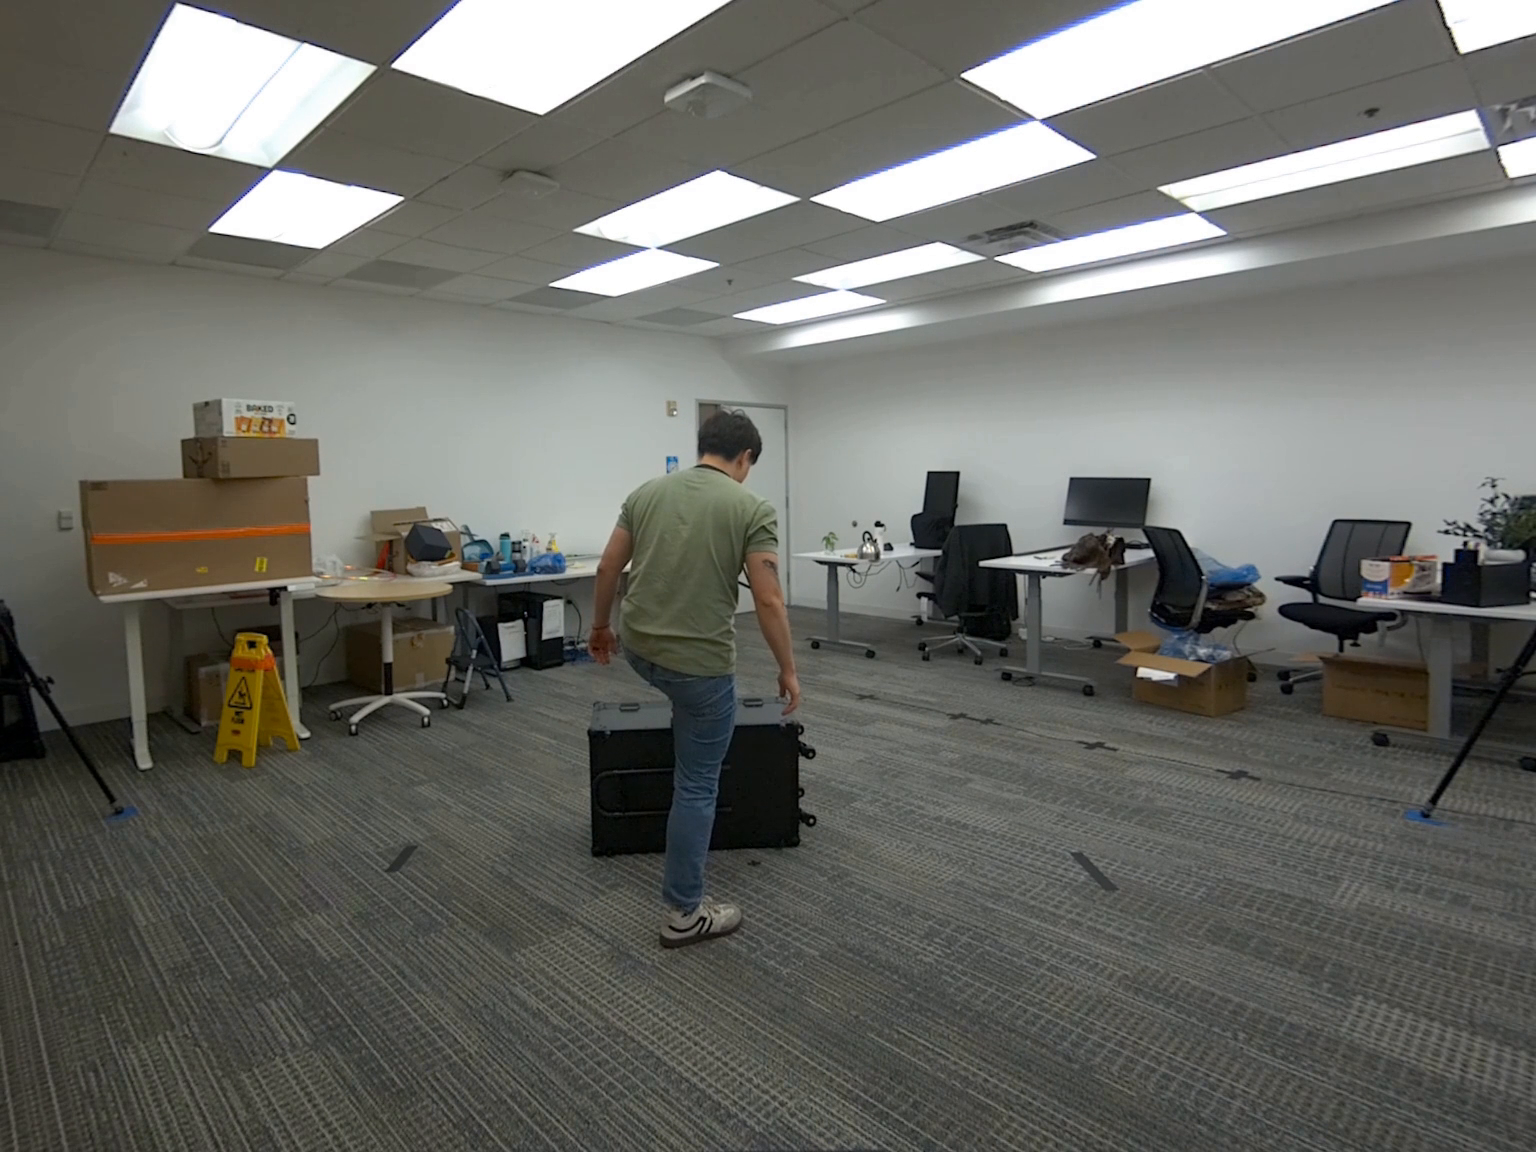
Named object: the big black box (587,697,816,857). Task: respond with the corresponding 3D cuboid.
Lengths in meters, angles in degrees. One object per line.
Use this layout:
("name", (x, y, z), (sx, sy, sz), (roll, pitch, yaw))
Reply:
("big black box", (-0.261, 0.766, 3.346), (0.857, 0.518, 0.400), (-1, 7, -5))
